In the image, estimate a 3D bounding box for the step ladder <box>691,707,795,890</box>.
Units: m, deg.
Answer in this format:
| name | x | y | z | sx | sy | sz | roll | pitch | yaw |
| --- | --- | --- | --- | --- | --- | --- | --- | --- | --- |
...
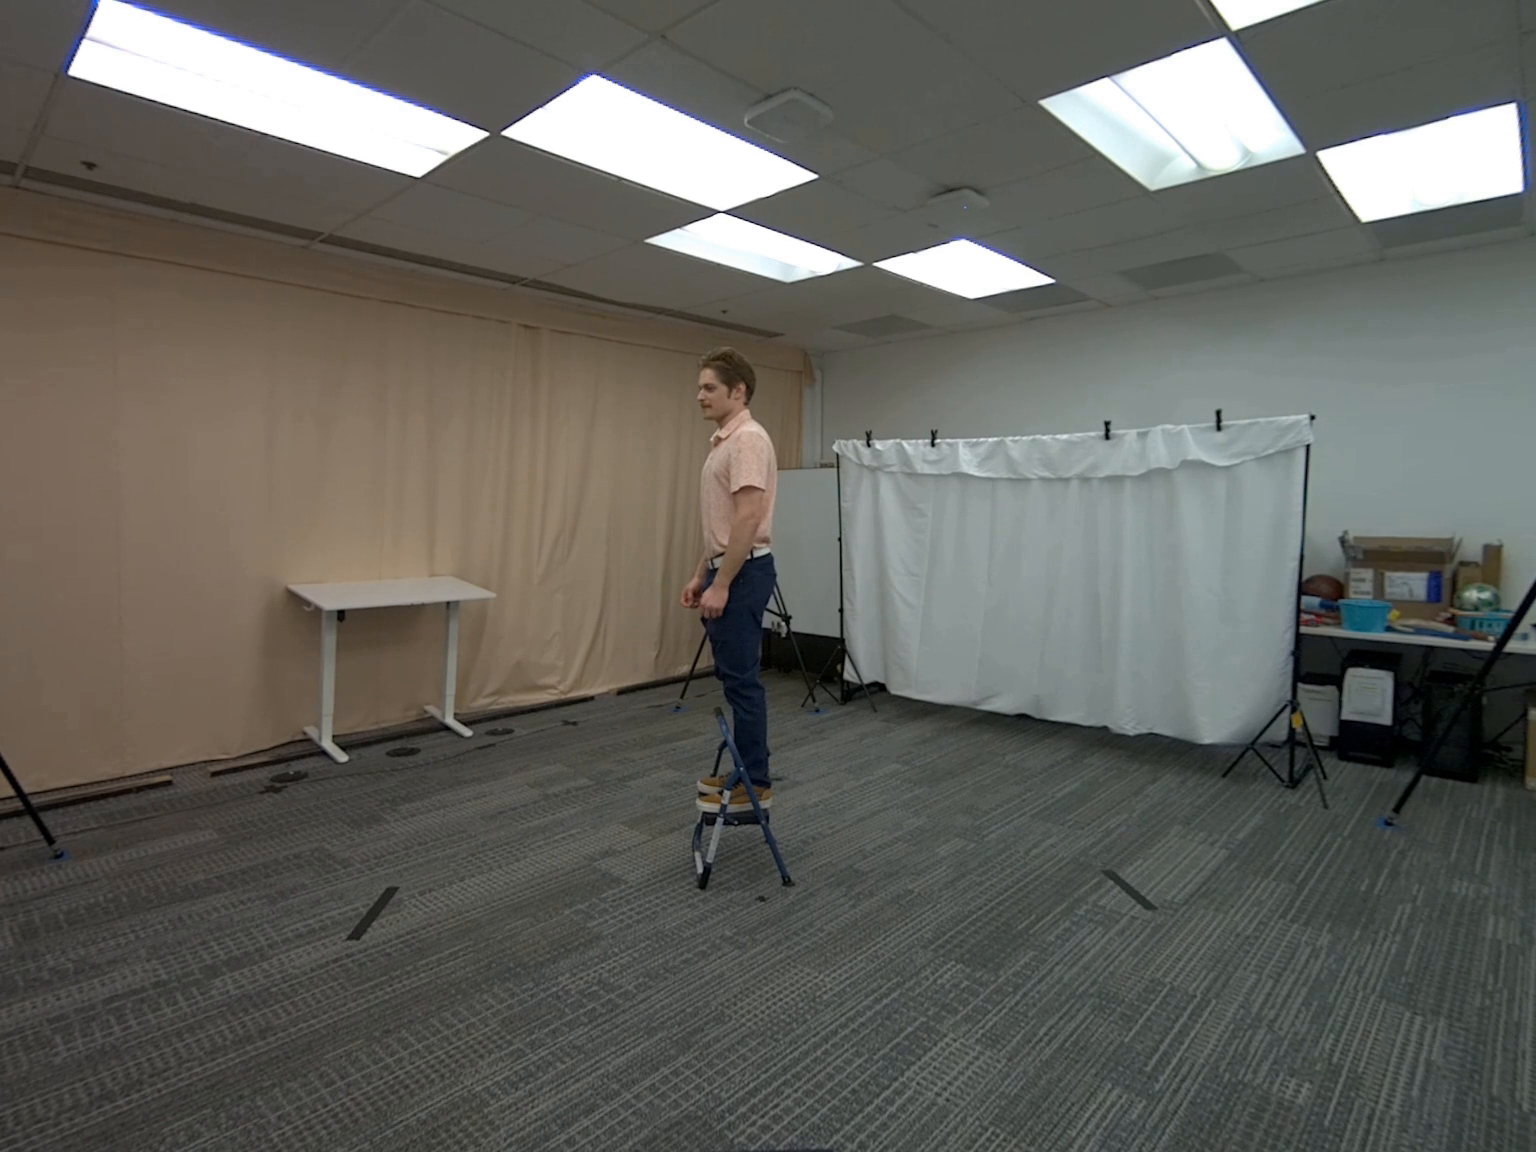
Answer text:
| name | x | y | z | sx | sy | sz | roll | pitch | yaw |
| --- | --- | --- | --- | --- | --- | --- | --- | --- | --- |
| step ladder | -0.113 | 0.823 | 3.259 | 0.346 | 0.605 | 0.435 | 0 | 3 | -9 |
